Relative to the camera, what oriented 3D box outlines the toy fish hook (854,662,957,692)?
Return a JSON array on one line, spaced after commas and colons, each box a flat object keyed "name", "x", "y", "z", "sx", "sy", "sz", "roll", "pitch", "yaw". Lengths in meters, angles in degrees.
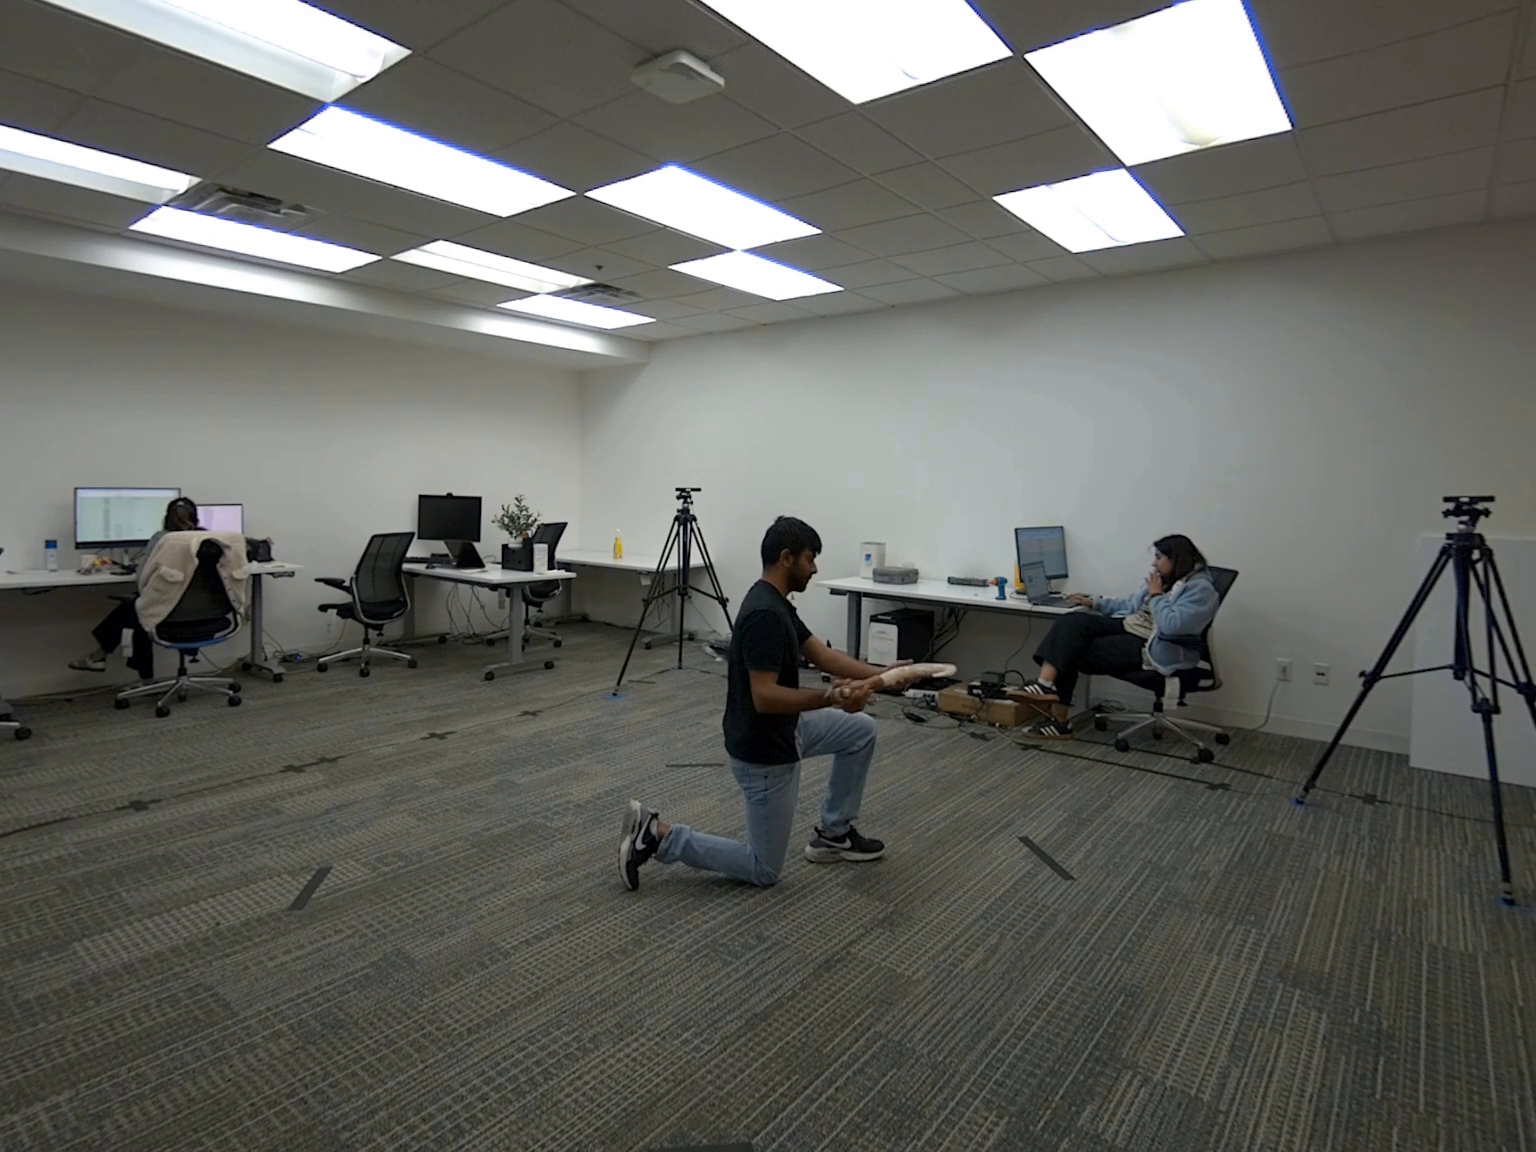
[{"name": "toy fish hook", "x": 0.390, "y": 0.317, "z": 2.674, "sx": 0.492, "sy": 0.048, "sz": 0.230, "roll": -6, "pitch": -4, "yaw": -43}]
